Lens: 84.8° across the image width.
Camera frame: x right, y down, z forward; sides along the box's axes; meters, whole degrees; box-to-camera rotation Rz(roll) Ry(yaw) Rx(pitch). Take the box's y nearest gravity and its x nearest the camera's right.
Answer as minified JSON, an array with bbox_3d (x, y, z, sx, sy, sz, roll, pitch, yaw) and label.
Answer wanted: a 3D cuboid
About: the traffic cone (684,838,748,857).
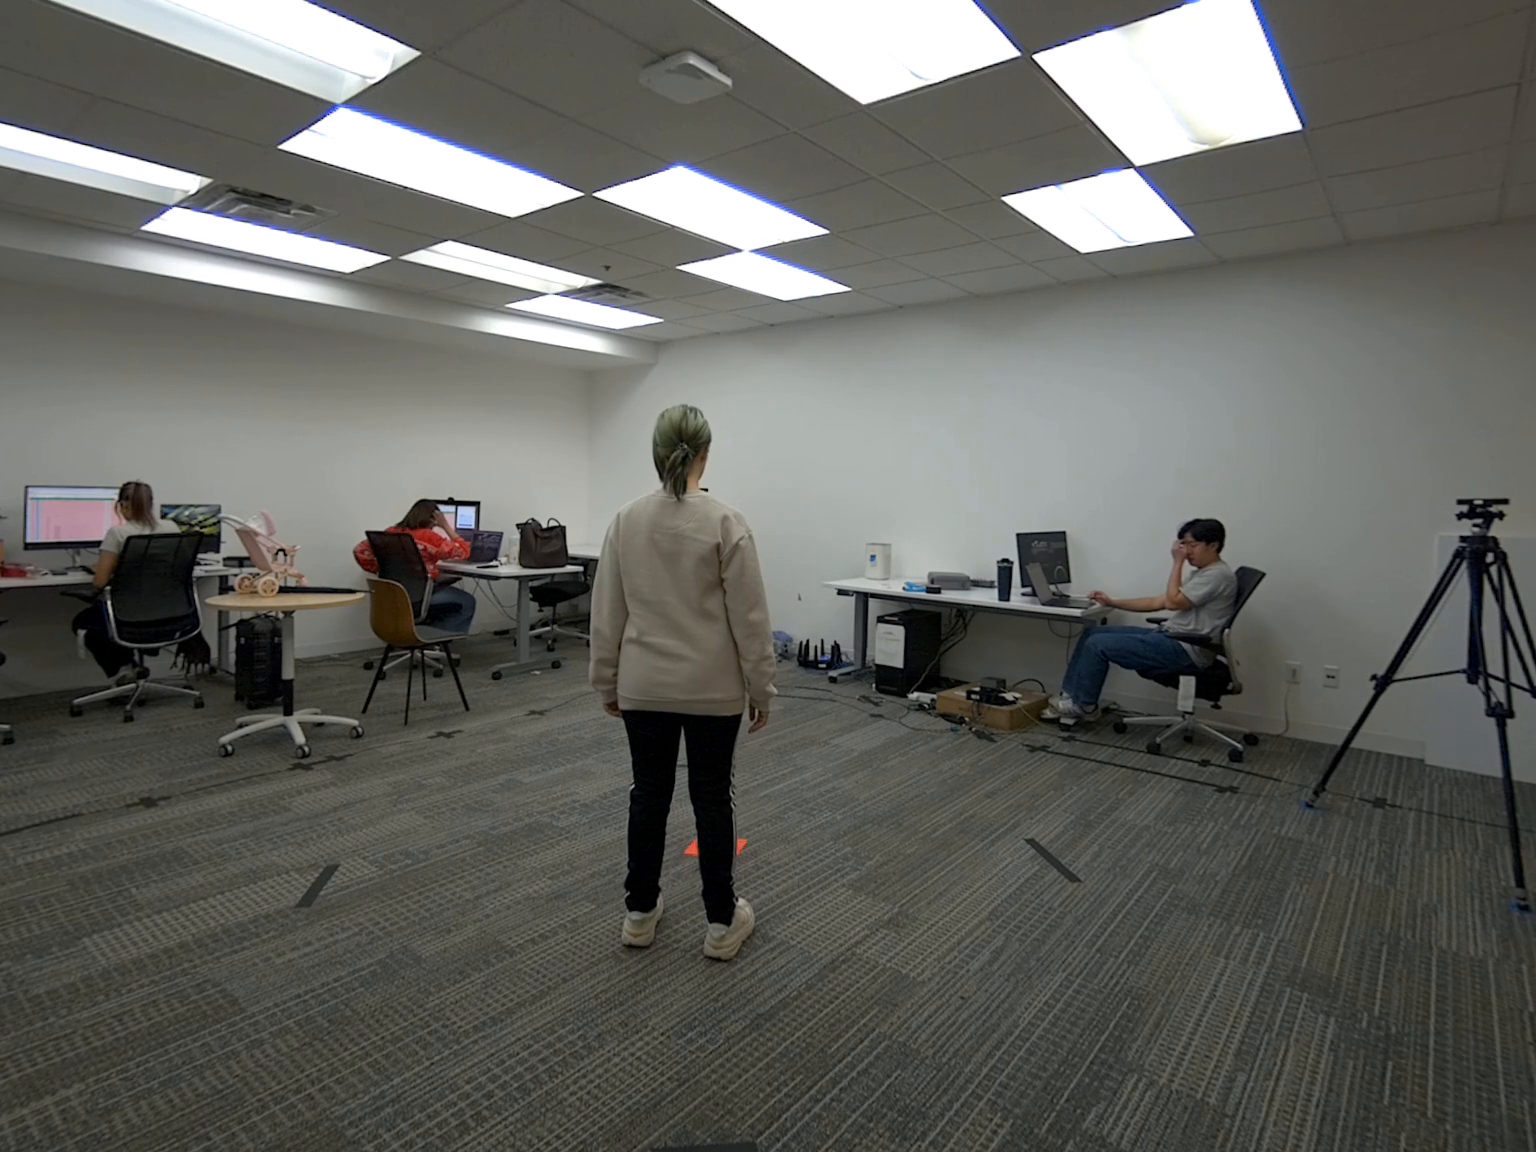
[{"bbox_3d":[-0.201,0.861,3.292,0.209,0.382,0.200,3,3,17],"label":"traffic cone"}]
